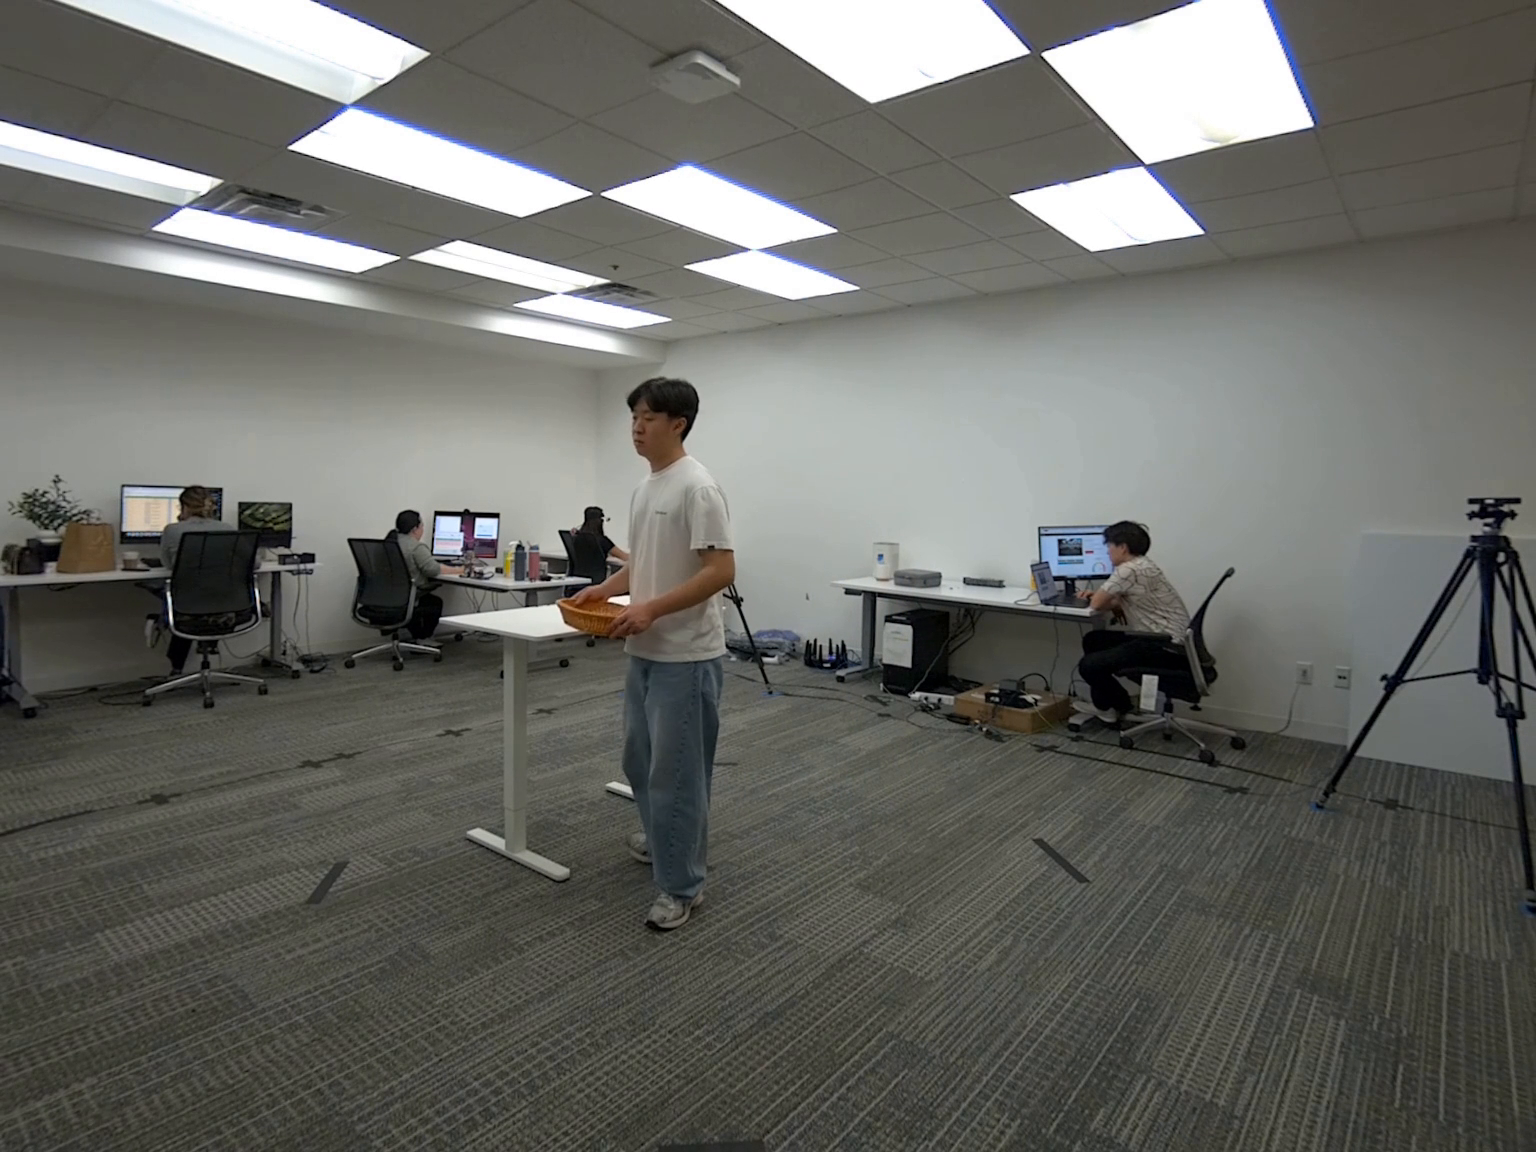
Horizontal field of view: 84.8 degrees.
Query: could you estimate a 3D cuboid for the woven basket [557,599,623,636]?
[{"bbox_3d":[-0.533,0.133,2.723,0.245,0.073,0.362,5,4,-33],"label":"woven basket"}]
